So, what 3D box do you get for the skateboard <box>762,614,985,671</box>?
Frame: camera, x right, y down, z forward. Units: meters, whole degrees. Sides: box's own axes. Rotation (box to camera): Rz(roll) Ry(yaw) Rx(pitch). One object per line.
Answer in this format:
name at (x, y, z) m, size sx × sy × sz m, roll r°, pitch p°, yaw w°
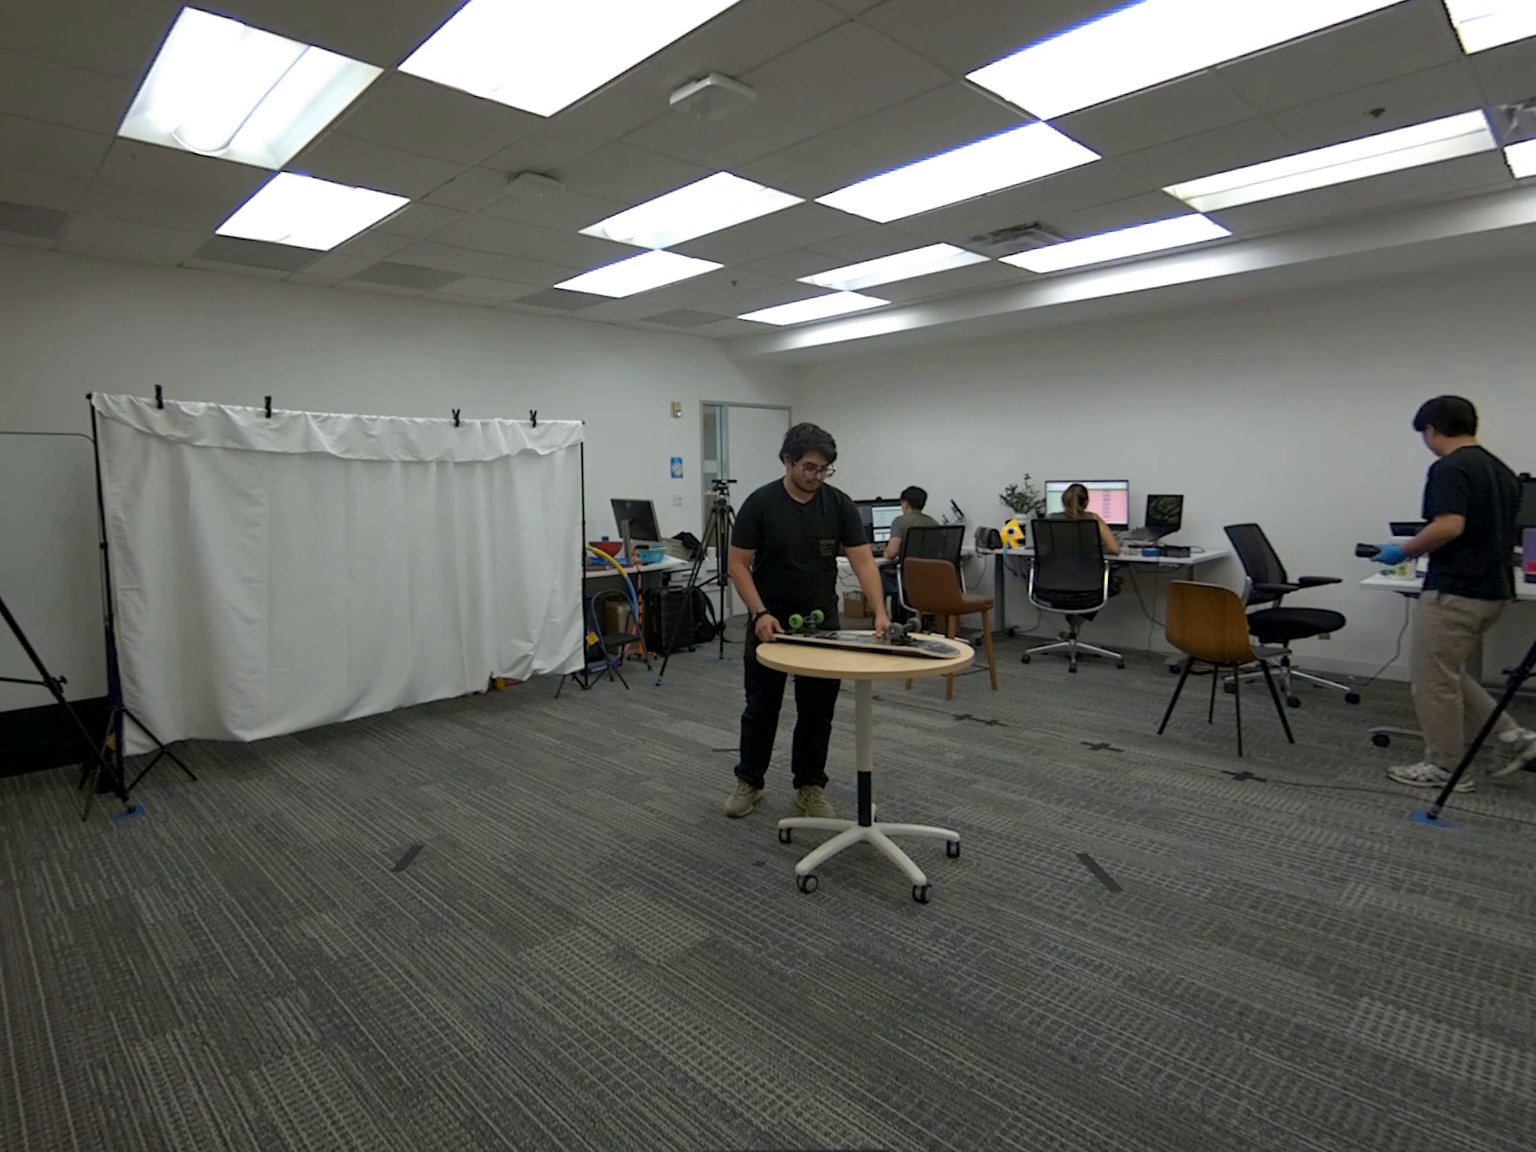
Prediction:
skateboard at (0.358, 0.217, 3.098) m, size 0.809 × 0.110 × 0.188 m, roll 4°, pitch 6°, yaw 36°
